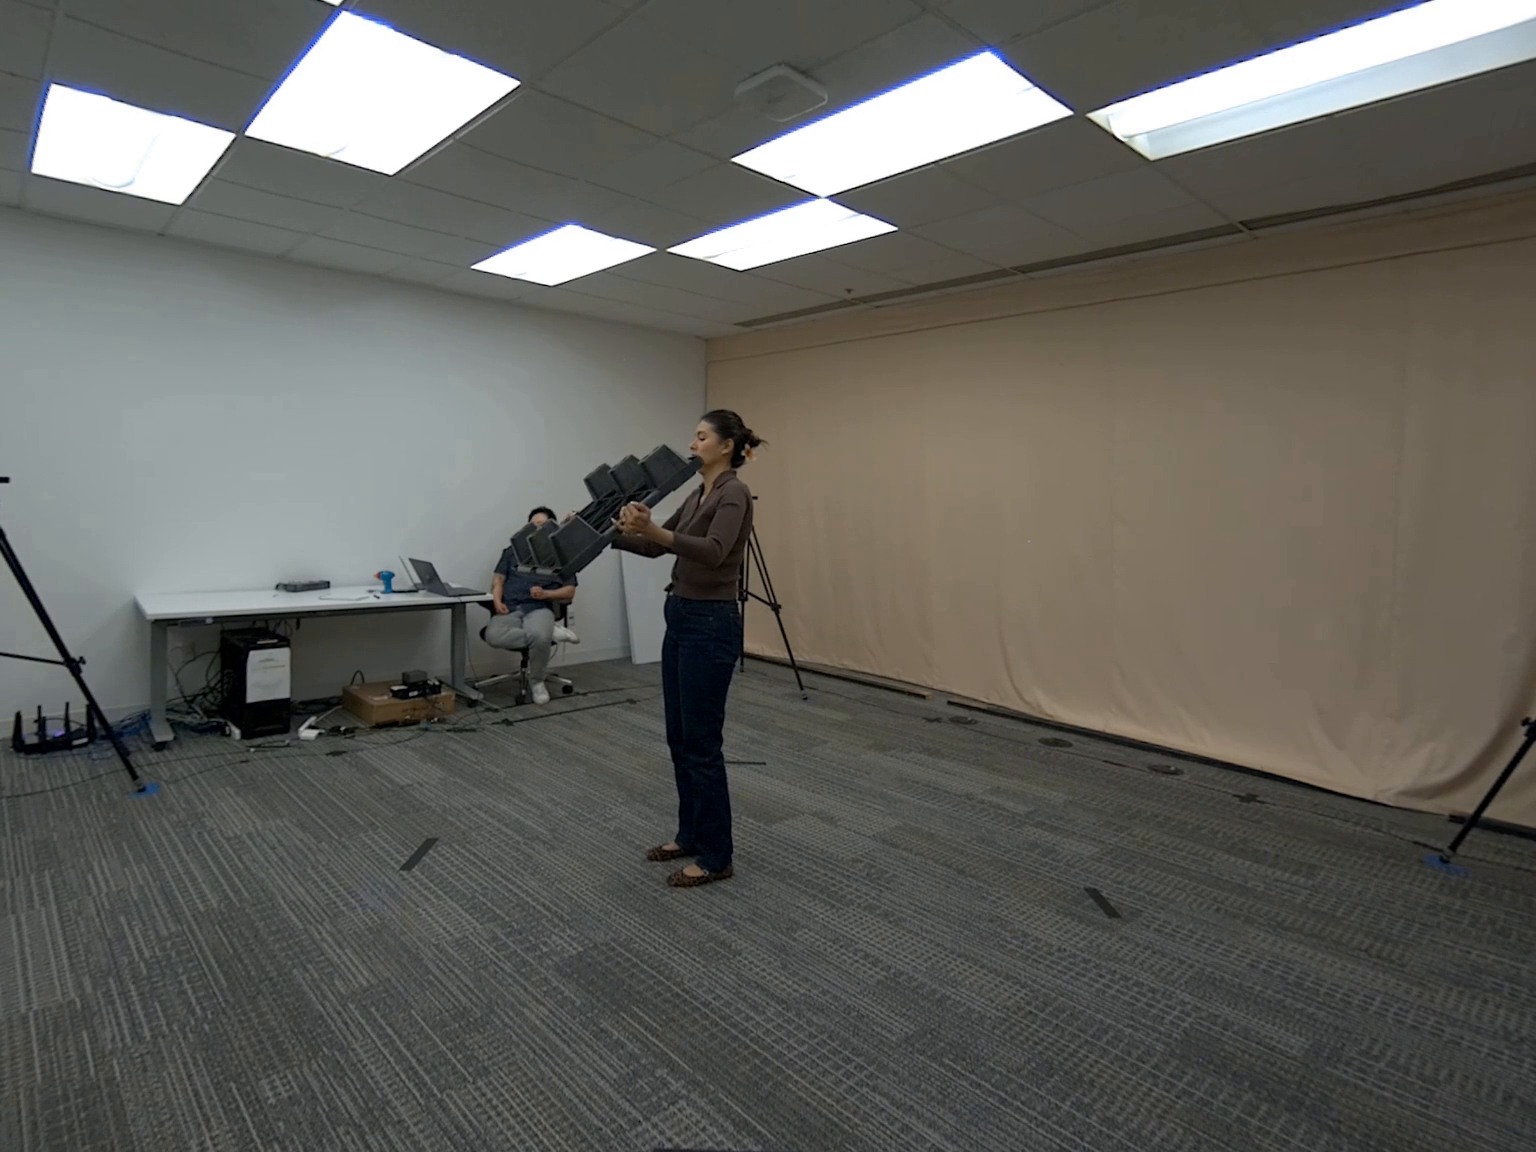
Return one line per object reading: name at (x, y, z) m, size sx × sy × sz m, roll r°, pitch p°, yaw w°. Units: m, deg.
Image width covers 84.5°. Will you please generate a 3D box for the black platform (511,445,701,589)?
black platform at (-0.619, -0.227, 2.953) m, size 0.604 × 0.141 × 0.821 m, roll -43°, pitch 19°, yaw -19°
